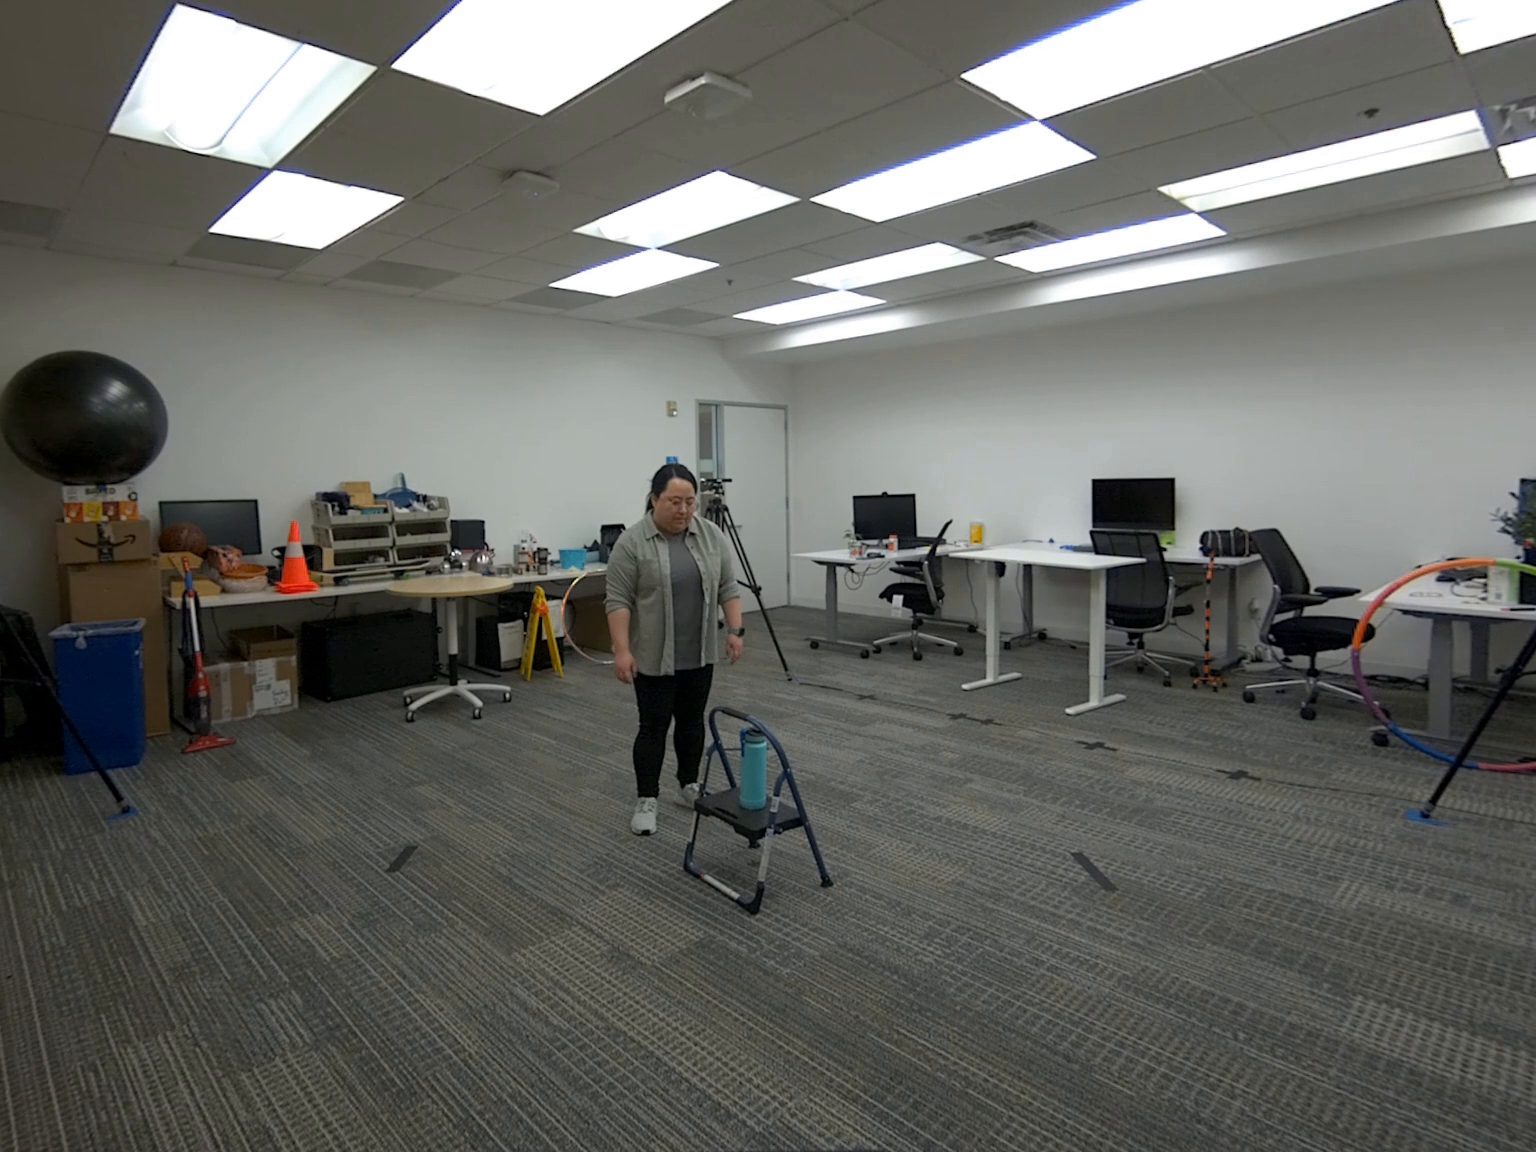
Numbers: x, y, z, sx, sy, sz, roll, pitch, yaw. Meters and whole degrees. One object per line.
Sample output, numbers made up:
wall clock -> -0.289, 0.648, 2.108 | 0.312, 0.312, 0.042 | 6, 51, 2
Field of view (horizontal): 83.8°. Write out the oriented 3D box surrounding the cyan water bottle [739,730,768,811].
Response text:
cyan water bottle -> -0.046, 0.662, 2.958 | 0.092, 0.282, 0.093 | 1, 6, -2
